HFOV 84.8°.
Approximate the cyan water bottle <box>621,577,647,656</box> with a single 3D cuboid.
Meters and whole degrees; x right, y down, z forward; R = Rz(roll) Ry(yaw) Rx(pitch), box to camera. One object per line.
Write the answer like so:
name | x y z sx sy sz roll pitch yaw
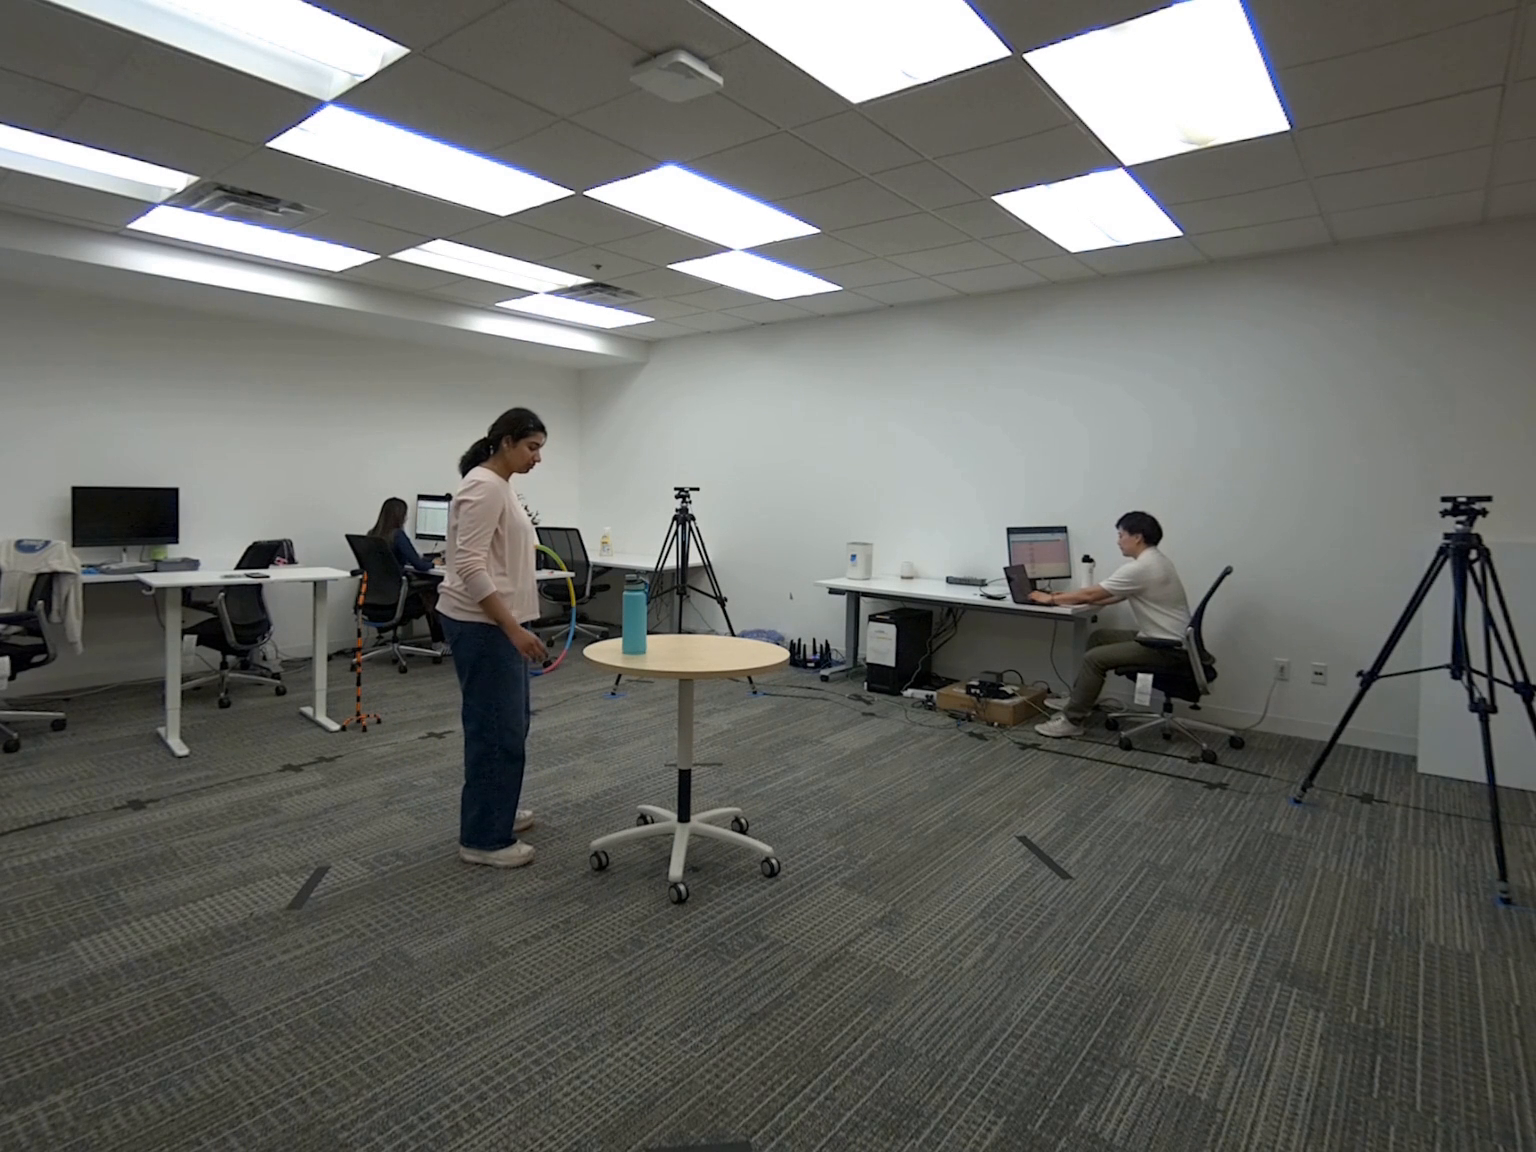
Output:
cyan water bottle | -0.502 0.140 3.105 0.092 0.283 0.092 2 2 -2
